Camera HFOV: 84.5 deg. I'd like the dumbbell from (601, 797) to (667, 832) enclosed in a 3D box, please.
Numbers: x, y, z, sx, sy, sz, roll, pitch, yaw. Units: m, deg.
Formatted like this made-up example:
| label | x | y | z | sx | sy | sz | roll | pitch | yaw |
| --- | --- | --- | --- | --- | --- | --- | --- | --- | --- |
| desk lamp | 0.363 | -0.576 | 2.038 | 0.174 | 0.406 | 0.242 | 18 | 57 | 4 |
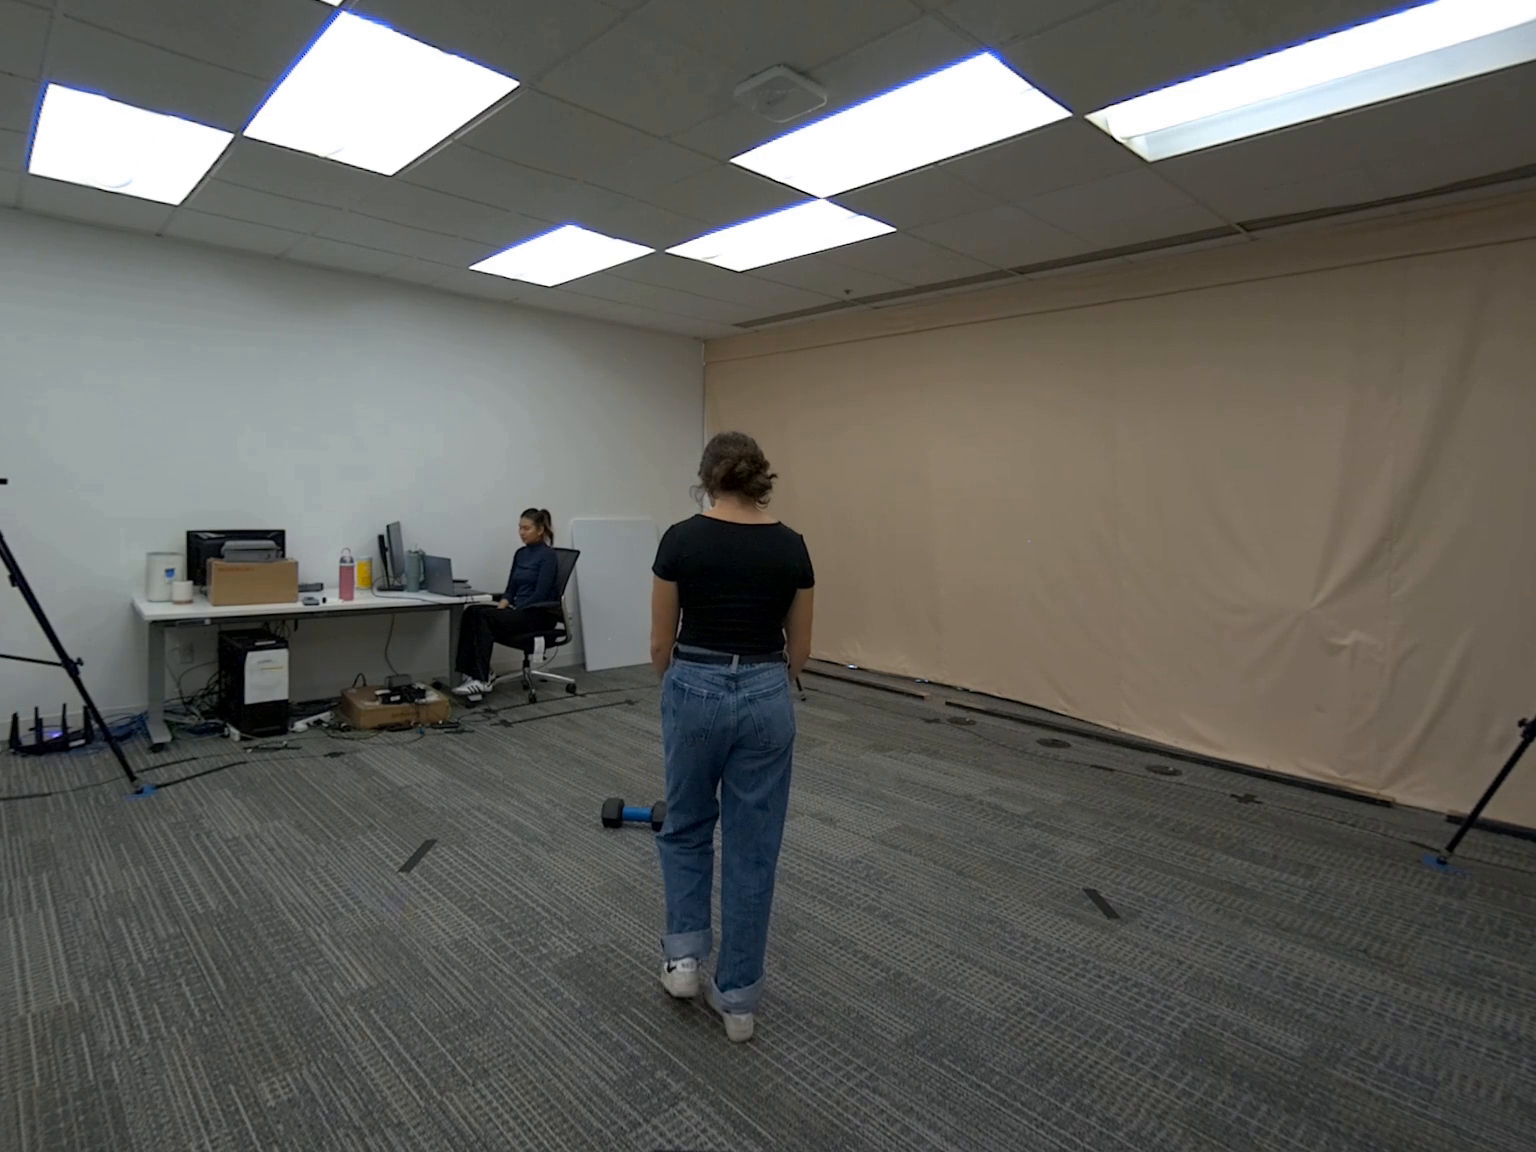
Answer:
| label | x | y | z | sx | sy | sz | roll | pitch | yaw |
| --- | --- | --- | --- | --- | --- | --- | --- | --- | --- |
| dumbbell | -0.559 | 1.008 | 3.546 | 0.295 | 0.125 | 0.106 | 2 | -25 | 5 |
